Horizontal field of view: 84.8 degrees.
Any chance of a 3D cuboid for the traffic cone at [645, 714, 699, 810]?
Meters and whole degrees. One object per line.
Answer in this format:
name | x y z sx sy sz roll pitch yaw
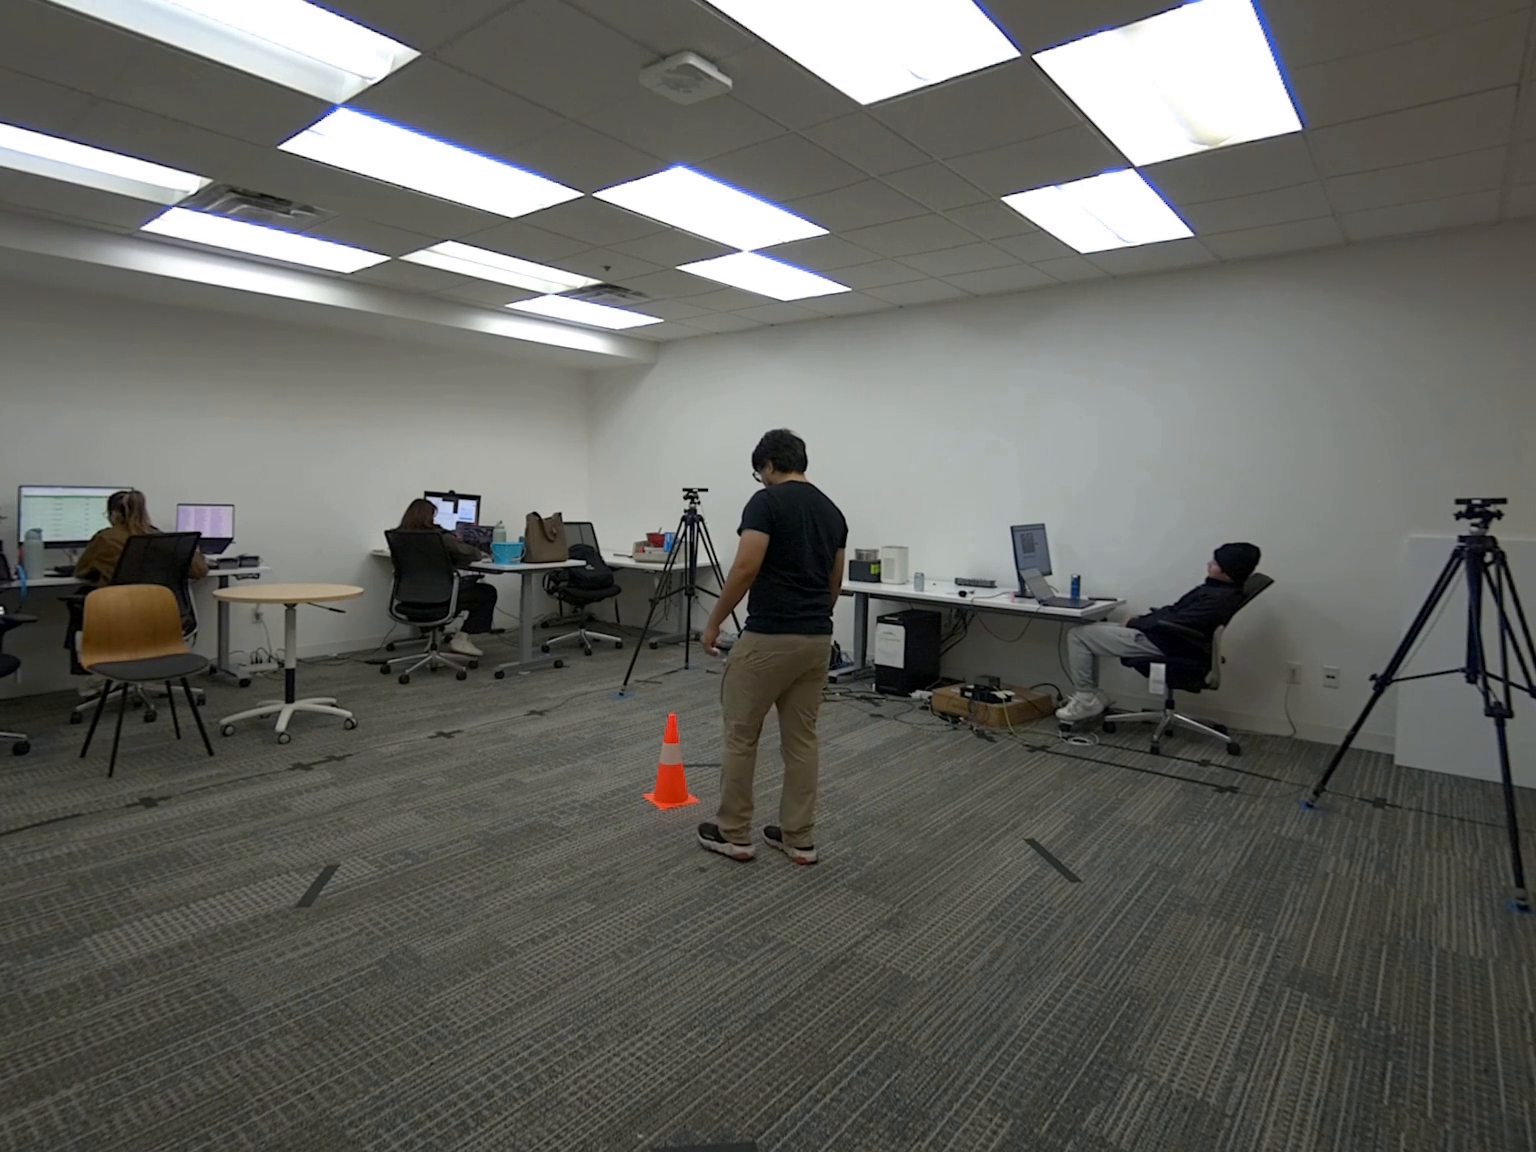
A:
traffic cone | -0.448 0.813 3.815 0.198 0.382 0.212 -3 6 -34
